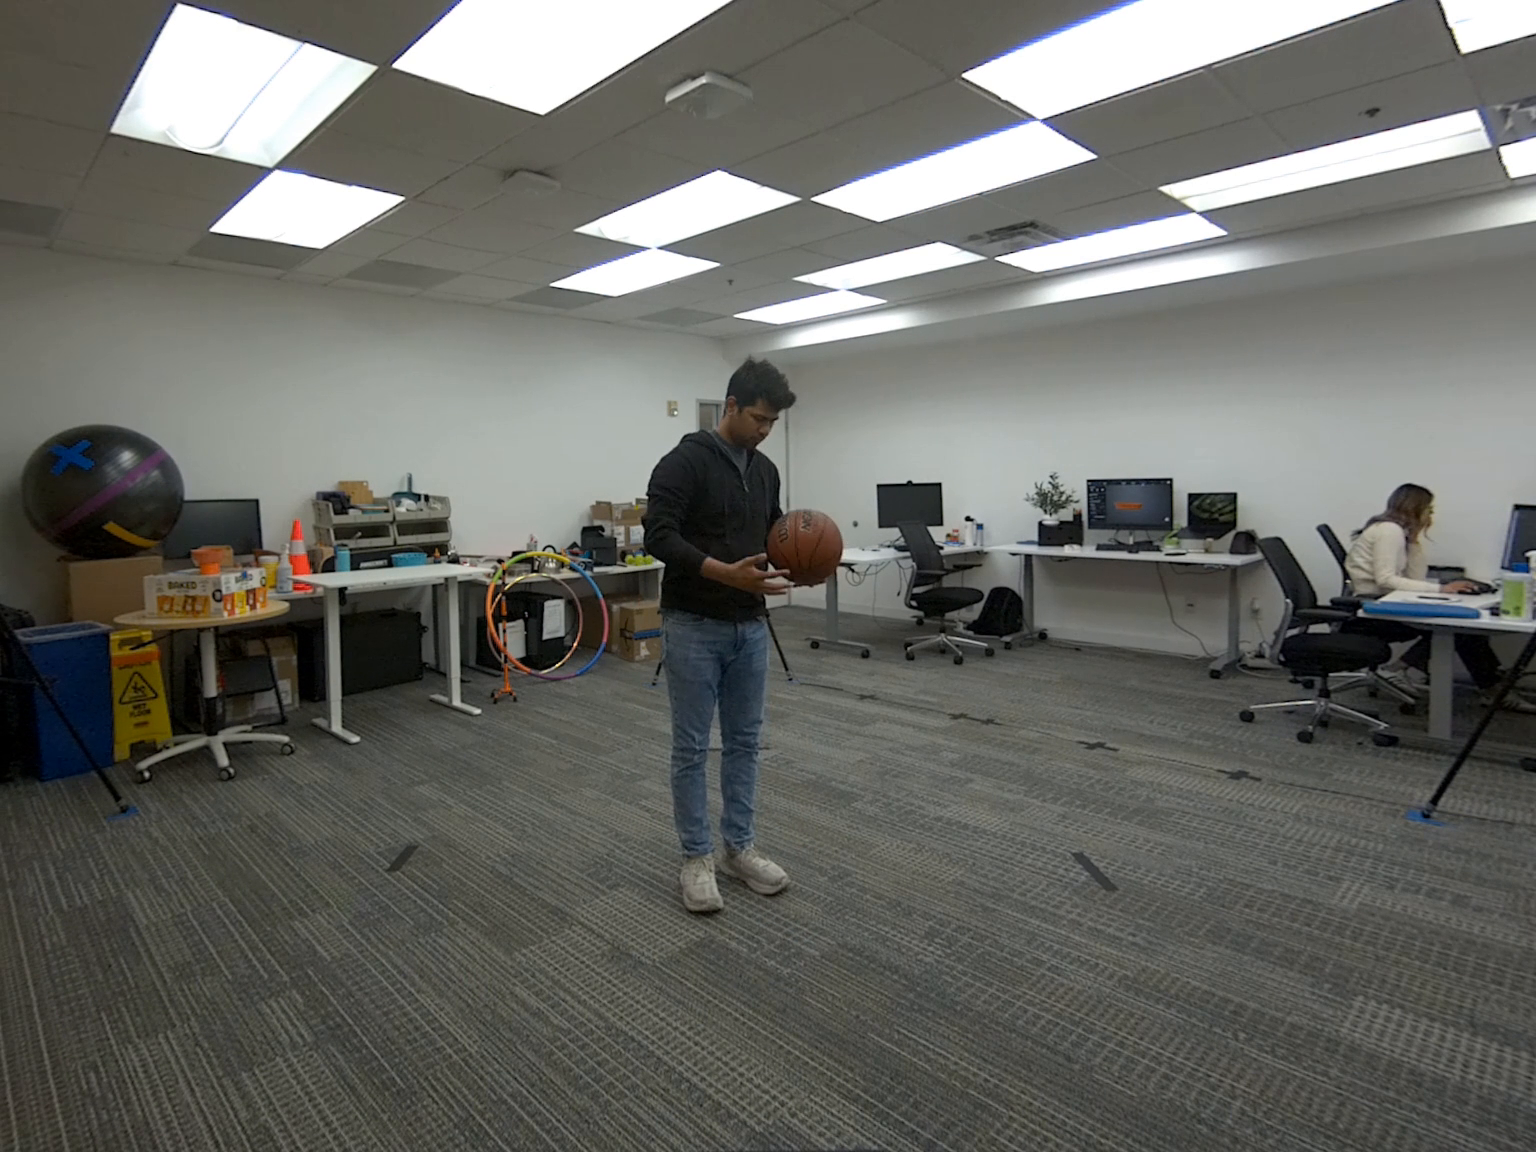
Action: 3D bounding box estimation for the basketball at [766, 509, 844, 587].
[{"bbox_3d":[0.101,-0.082,2.705,0.236,0.235,0.237,-1,5,-2],"label":"basketball"}]
